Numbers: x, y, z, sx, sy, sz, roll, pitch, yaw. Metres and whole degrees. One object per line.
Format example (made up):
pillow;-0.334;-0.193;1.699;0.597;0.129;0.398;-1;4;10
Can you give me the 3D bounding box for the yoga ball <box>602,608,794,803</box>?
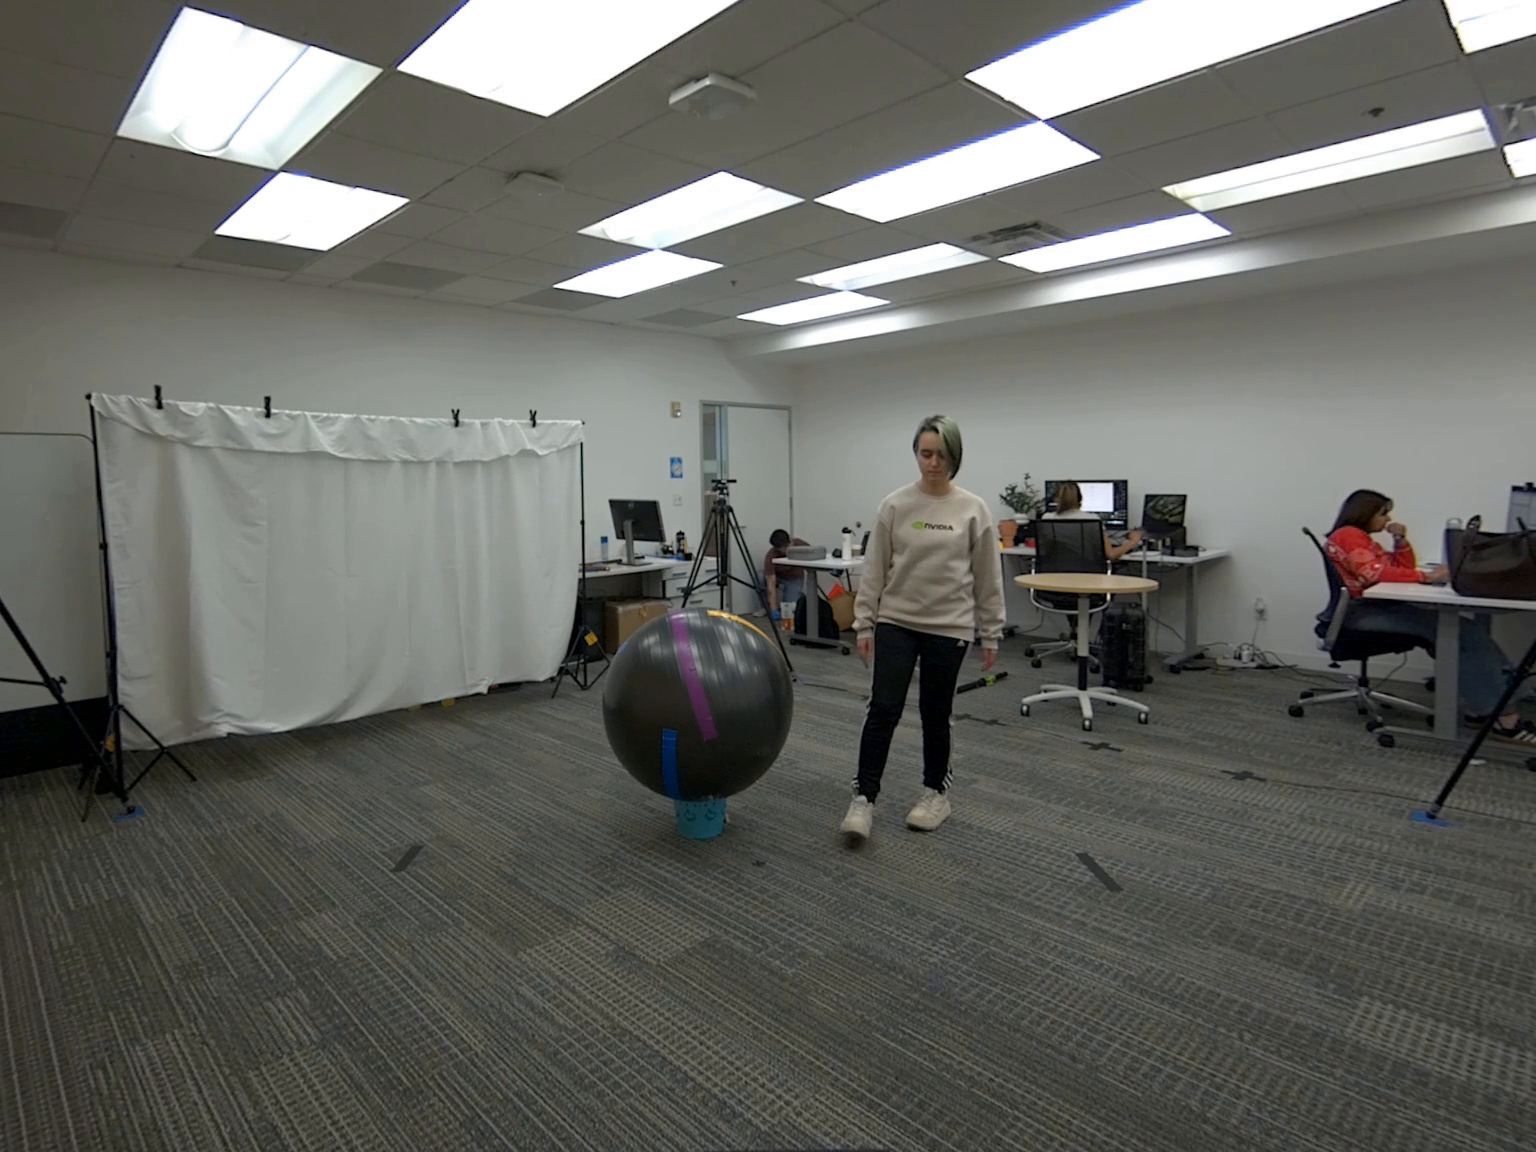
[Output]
yoga ball;-0.277;0.507;3.400;0.757;0.755;0.762;-1;5;-2
